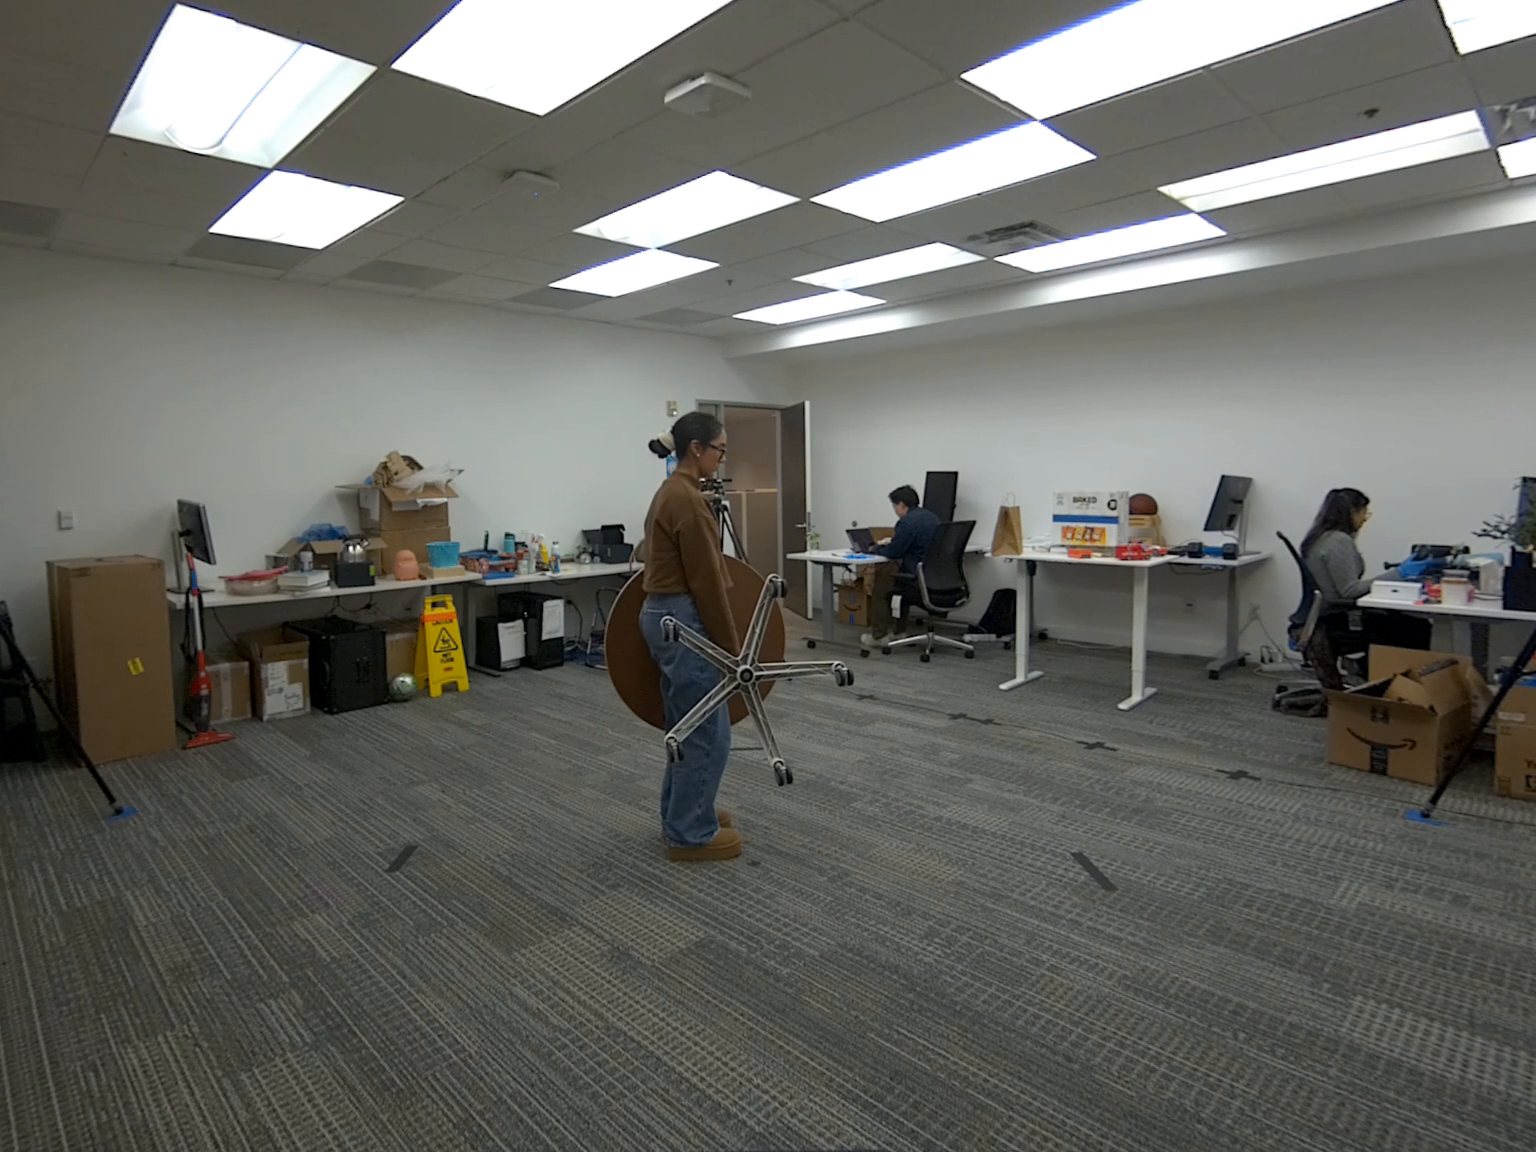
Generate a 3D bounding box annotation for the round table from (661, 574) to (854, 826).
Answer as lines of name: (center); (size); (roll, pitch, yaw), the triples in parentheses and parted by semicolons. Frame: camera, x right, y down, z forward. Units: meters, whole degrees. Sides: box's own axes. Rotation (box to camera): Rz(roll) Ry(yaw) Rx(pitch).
round table: (-0.170, 0.319, 3.157); (0.752, 0.761, 0.810); (-2, 5, -17)
